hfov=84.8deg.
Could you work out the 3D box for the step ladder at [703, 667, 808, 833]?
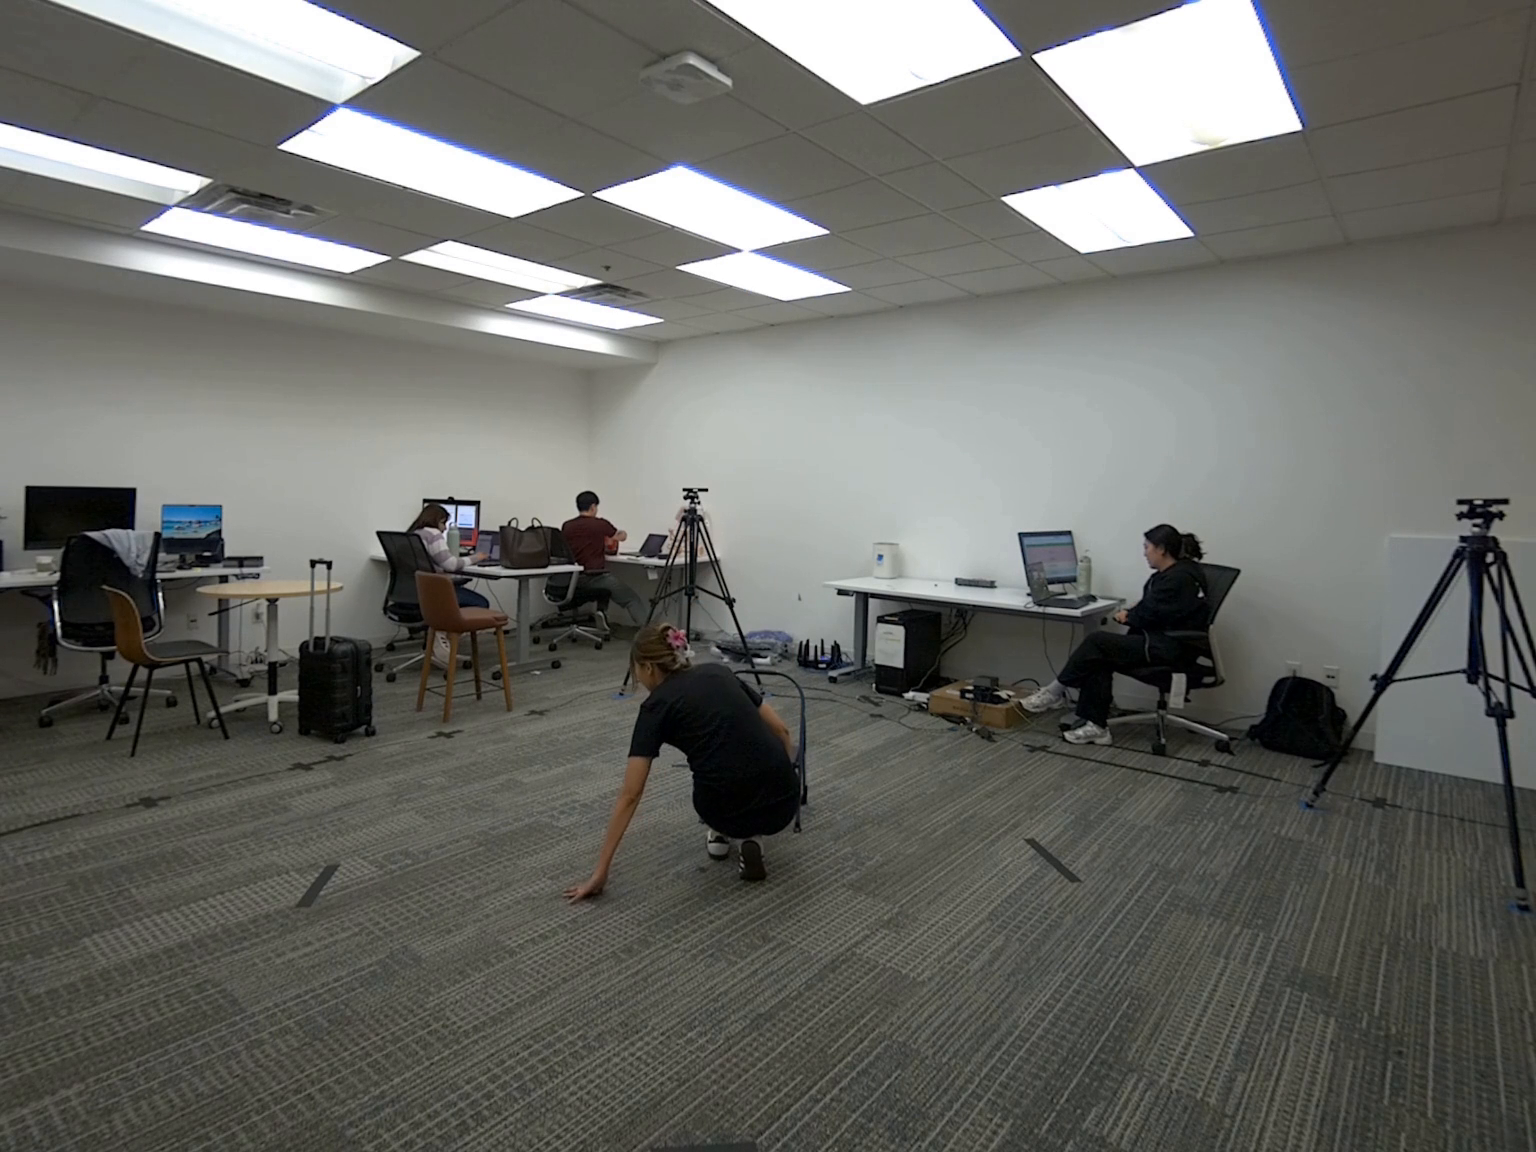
[{"bbox_3d":[-0.051,0.712,3.658,0.436,0.604,0.346,2,3,10],"label":"step ladder"}]
